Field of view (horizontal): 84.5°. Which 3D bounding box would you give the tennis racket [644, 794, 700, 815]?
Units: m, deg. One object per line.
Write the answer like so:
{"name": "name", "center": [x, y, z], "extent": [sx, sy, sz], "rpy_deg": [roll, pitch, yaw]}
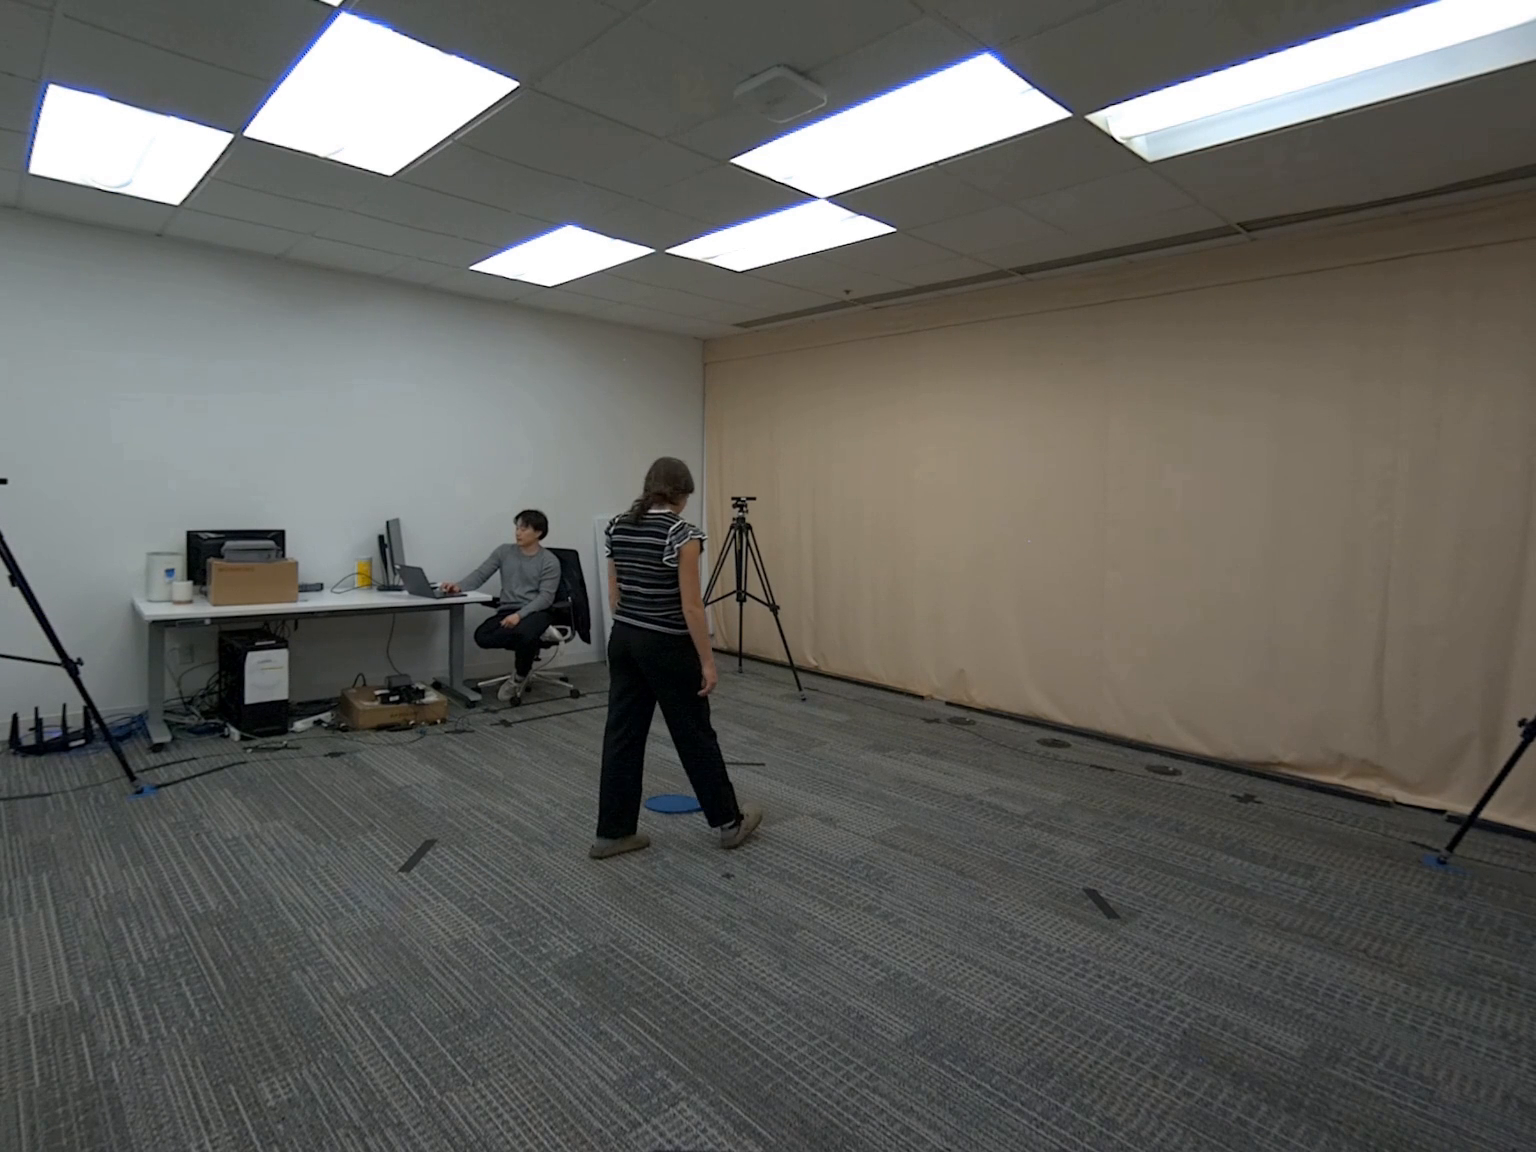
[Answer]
{"name": "tennis racket", "center": [-0.350, 1.028, 3.779], "extent": [0.437, 0.031, 0.212], "rpy_deg": [1, 5, 10]}
